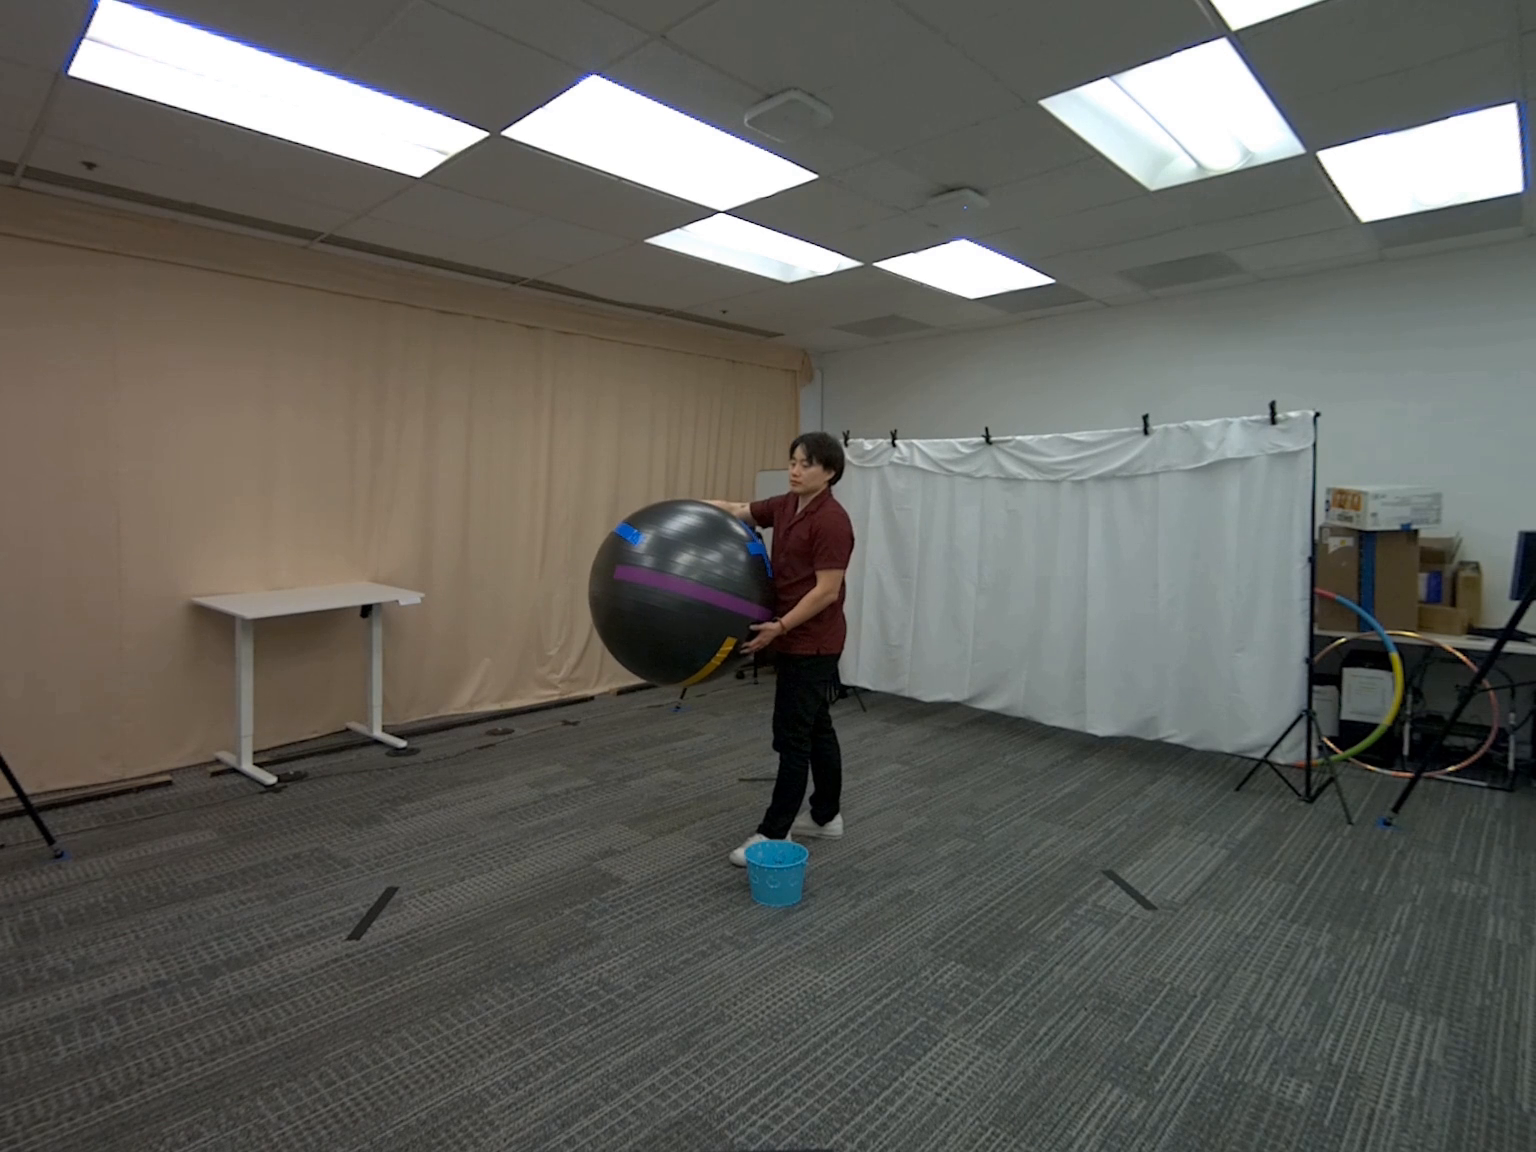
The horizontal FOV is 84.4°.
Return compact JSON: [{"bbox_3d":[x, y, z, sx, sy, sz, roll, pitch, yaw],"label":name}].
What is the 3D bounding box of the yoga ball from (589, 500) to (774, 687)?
[{"bbox_3d":[-0.356,0.070,3.448,0.757,0.756,0.761,0,4,-2],"label":"yoga ball"}]
